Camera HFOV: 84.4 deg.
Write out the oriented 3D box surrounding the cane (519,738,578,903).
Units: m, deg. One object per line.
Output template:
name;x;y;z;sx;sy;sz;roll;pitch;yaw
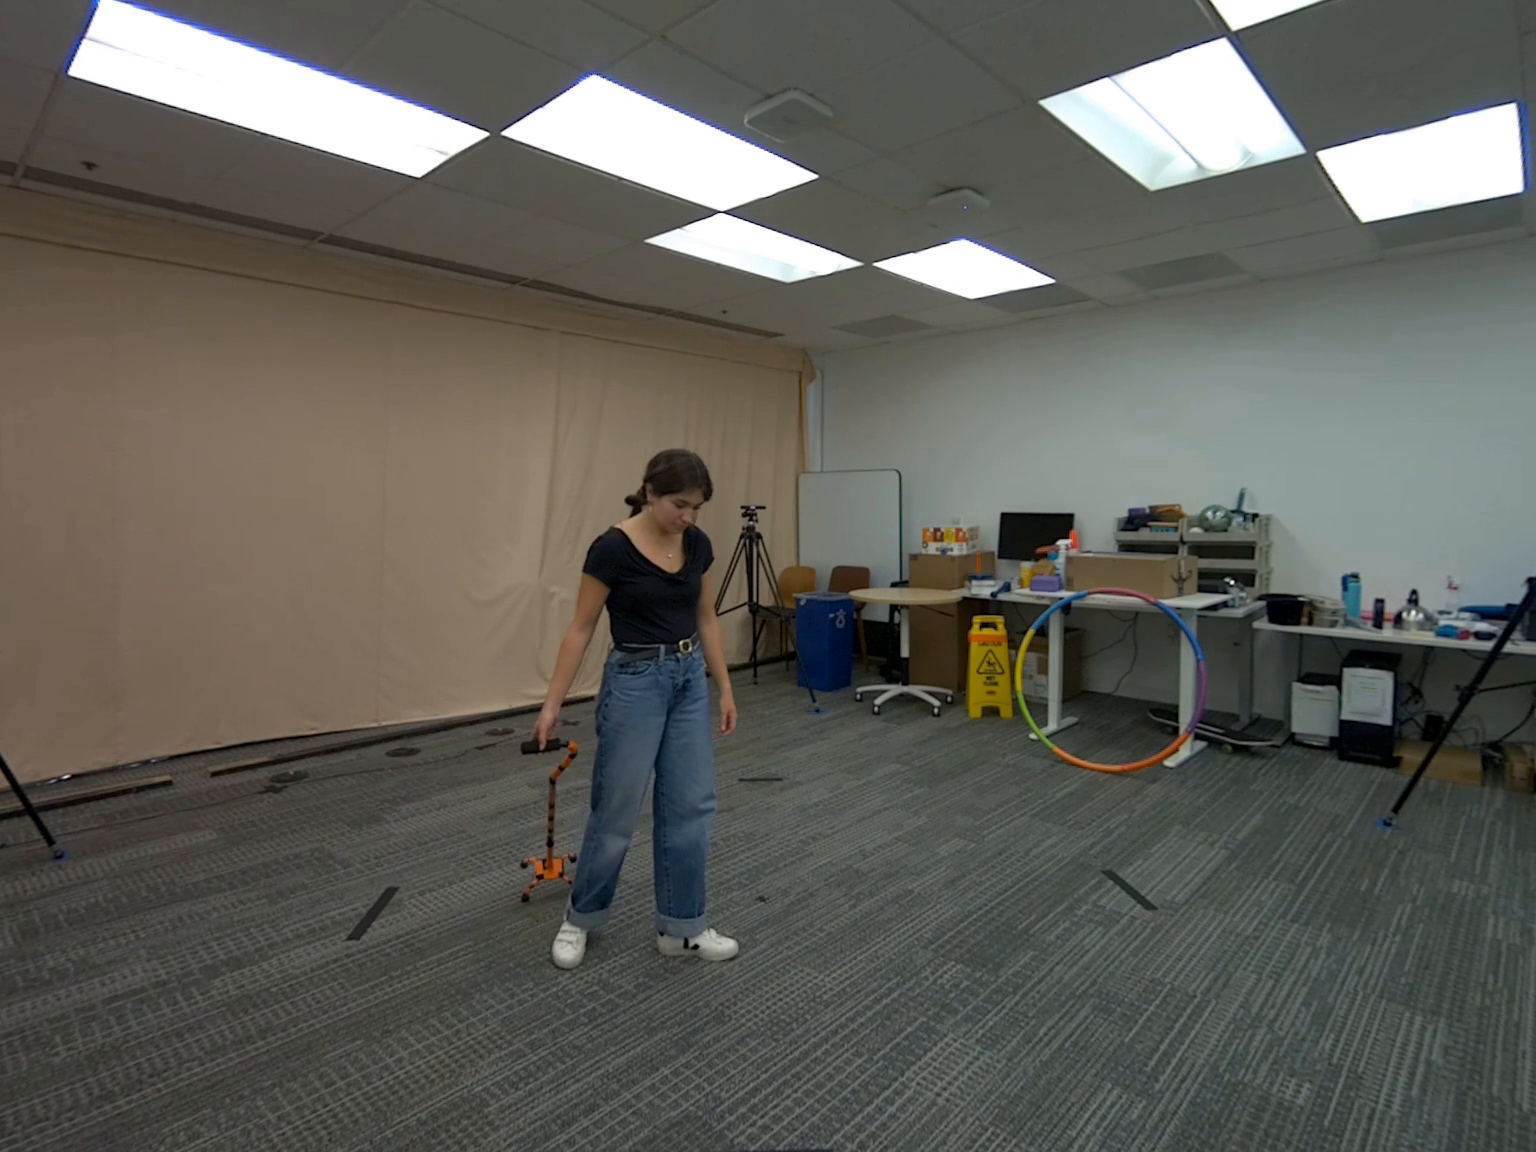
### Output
cane;-0.704;0.795;2.733;0.204;0.898;0.155;1;47;-13
